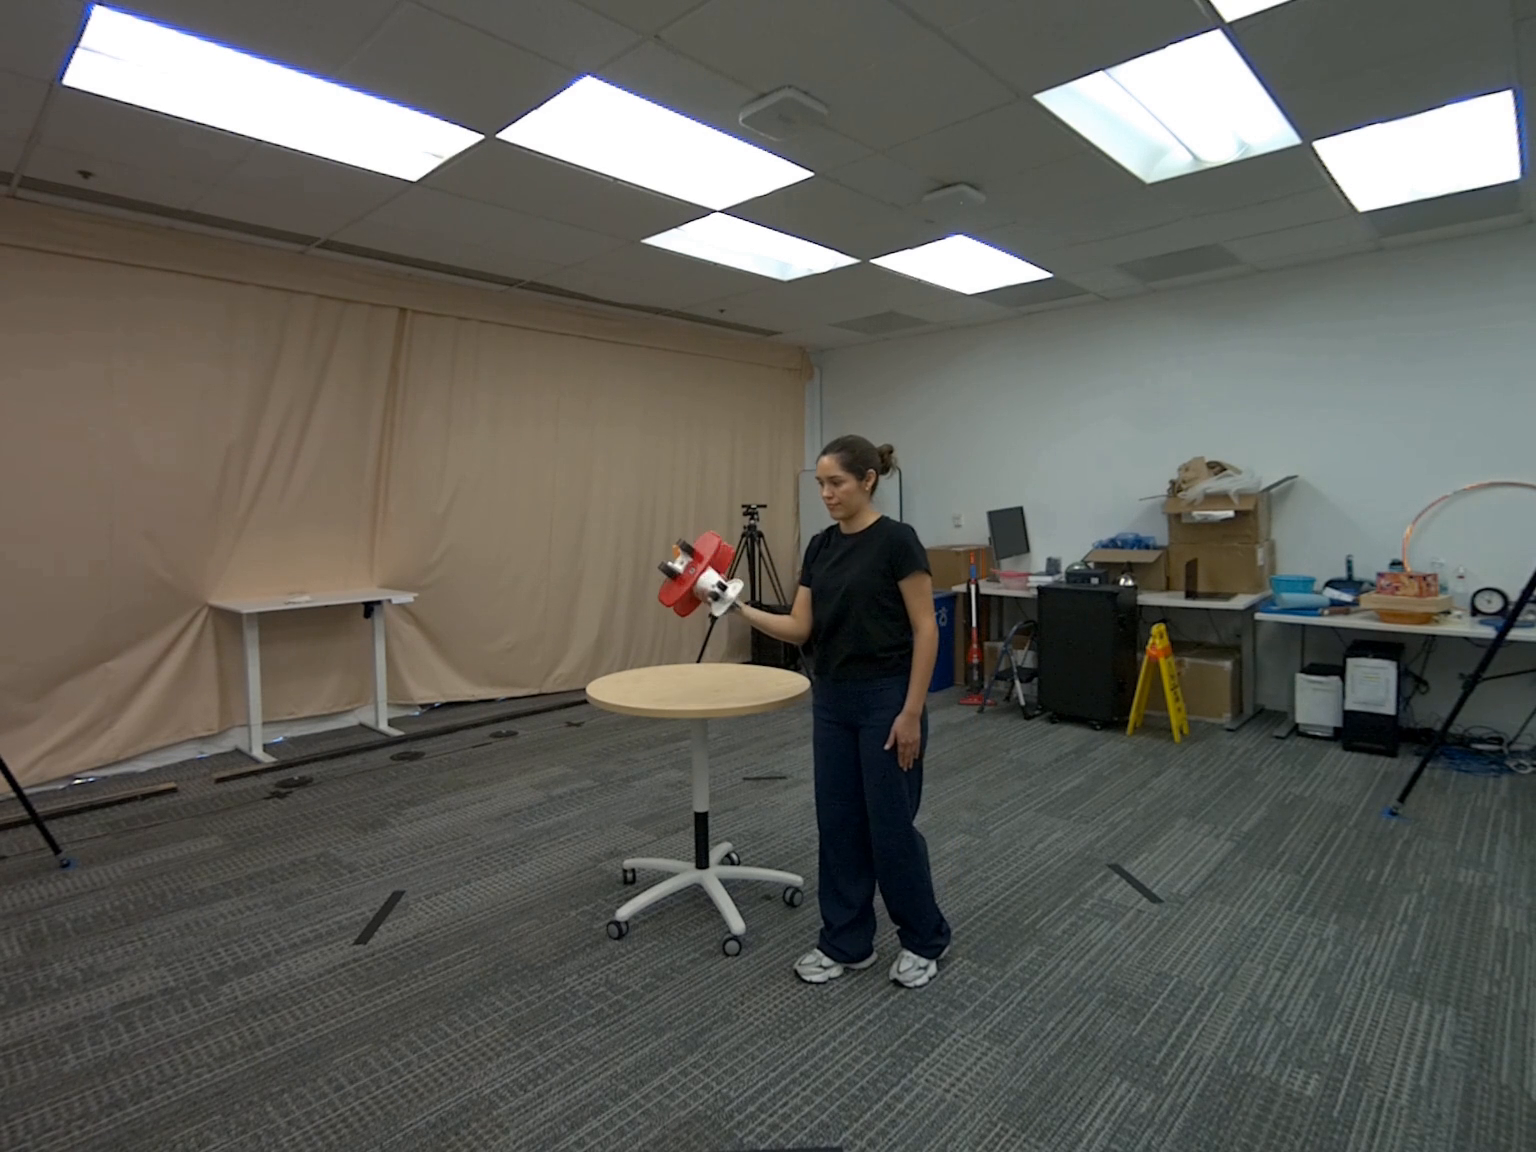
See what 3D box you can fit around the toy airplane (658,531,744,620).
[{"bbox_3d":[-0.163,0.025,2.435,0.253,0.265,0.152,-27,-26,11],"label":"toy airplane"}]
